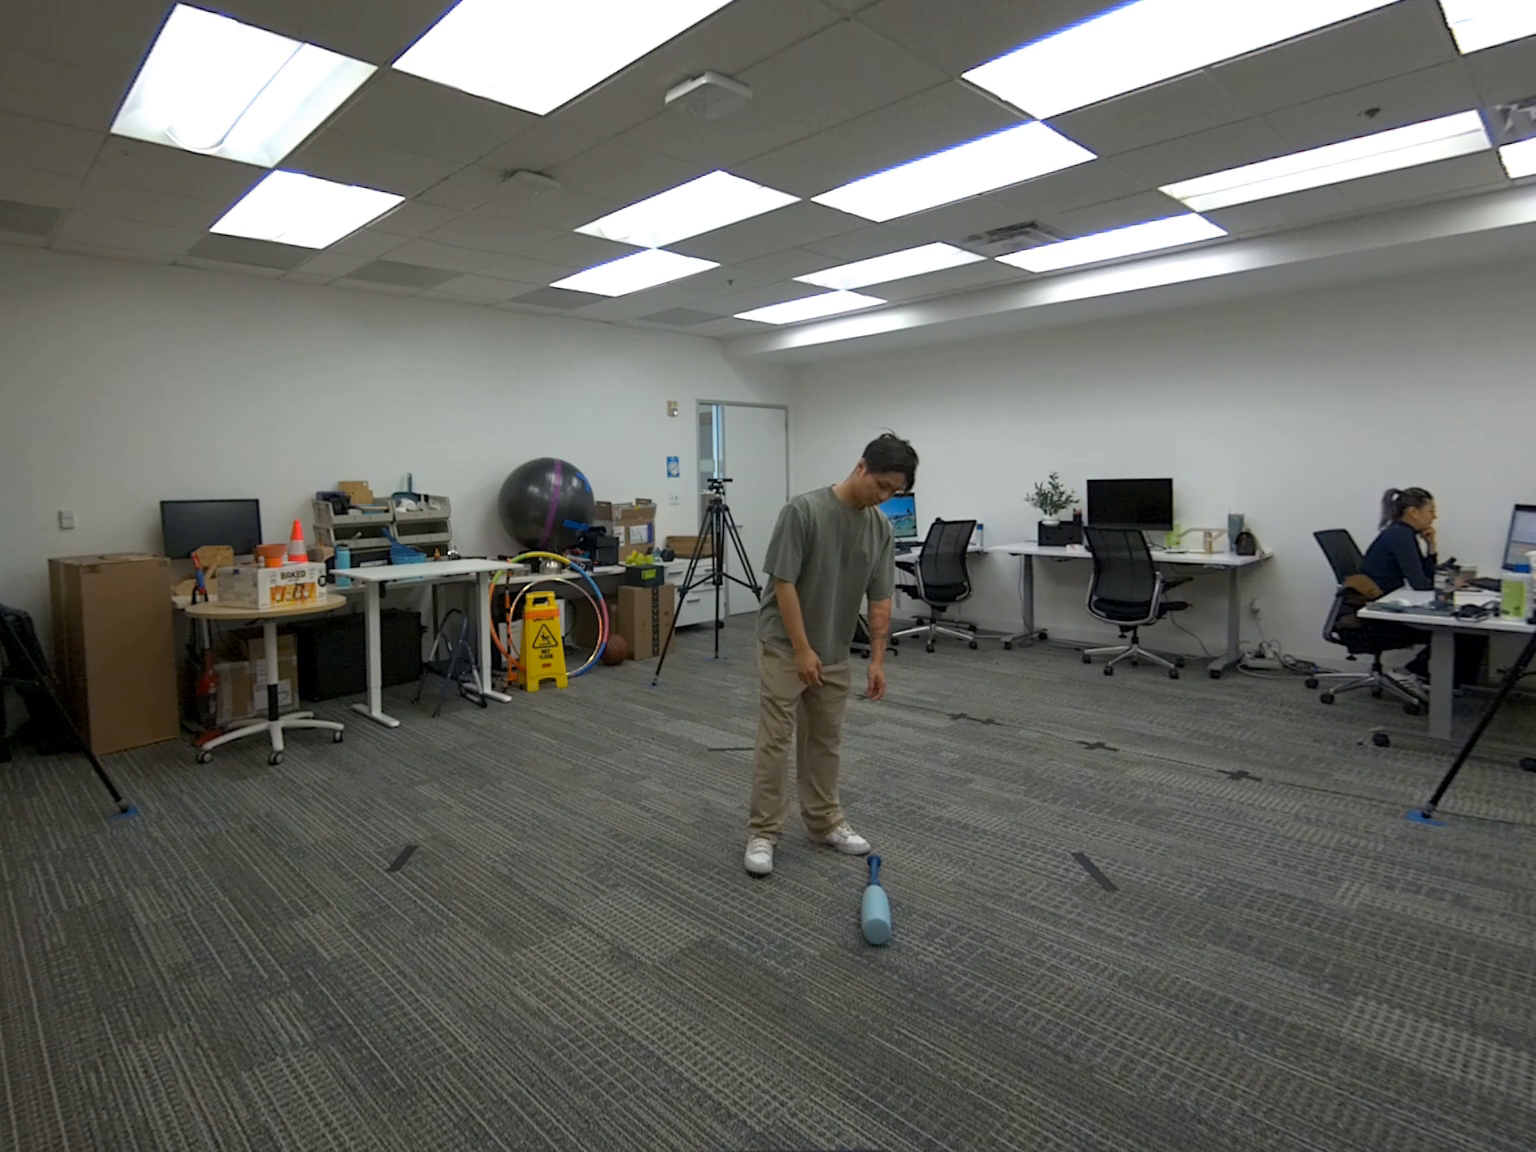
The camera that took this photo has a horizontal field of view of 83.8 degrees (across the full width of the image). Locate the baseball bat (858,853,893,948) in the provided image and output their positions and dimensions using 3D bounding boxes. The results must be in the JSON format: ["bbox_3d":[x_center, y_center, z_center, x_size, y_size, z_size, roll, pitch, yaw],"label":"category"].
[{"bbox_3d":[0.351,1.042,2.791,0.090,0.089,0.539,0,3,8],"label":"baseball bat"}]
